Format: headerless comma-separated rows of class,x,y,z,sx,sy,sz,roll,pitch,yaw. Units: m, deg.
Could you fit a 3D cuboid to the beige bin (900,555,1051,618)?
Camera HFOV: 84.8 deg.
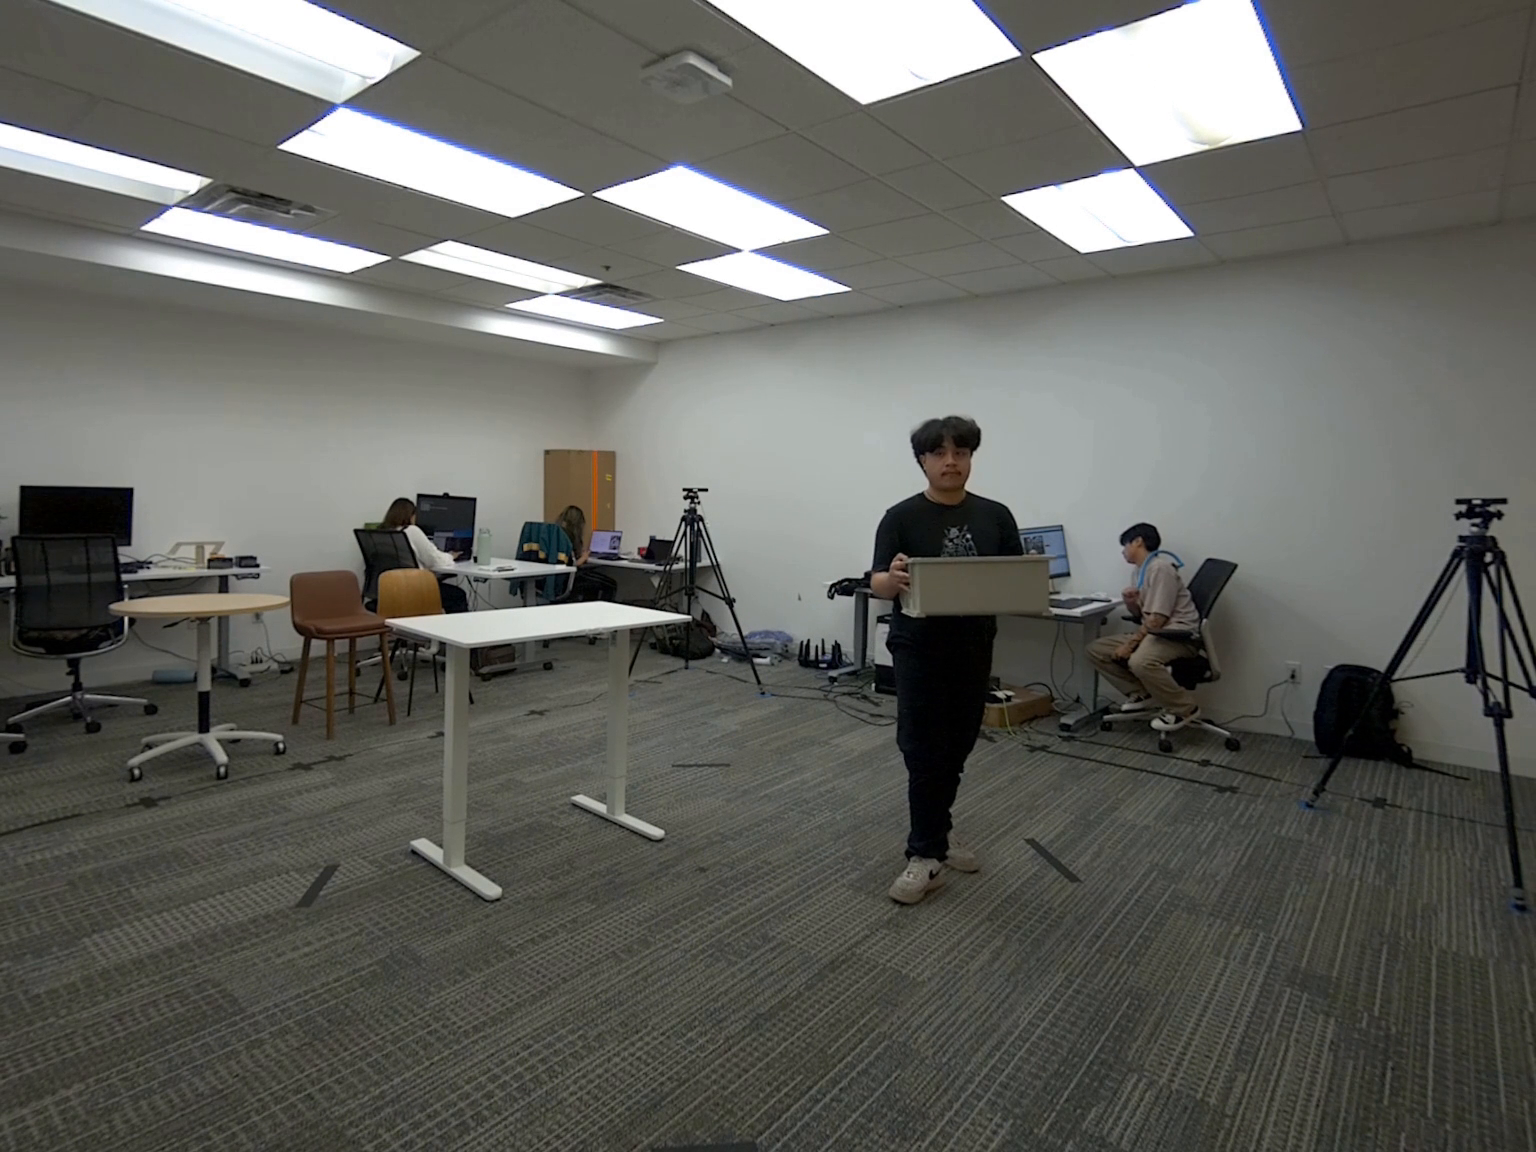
beige bin,0.645,0.026,2.728,0.424,0.189,0.376,0,2,3
